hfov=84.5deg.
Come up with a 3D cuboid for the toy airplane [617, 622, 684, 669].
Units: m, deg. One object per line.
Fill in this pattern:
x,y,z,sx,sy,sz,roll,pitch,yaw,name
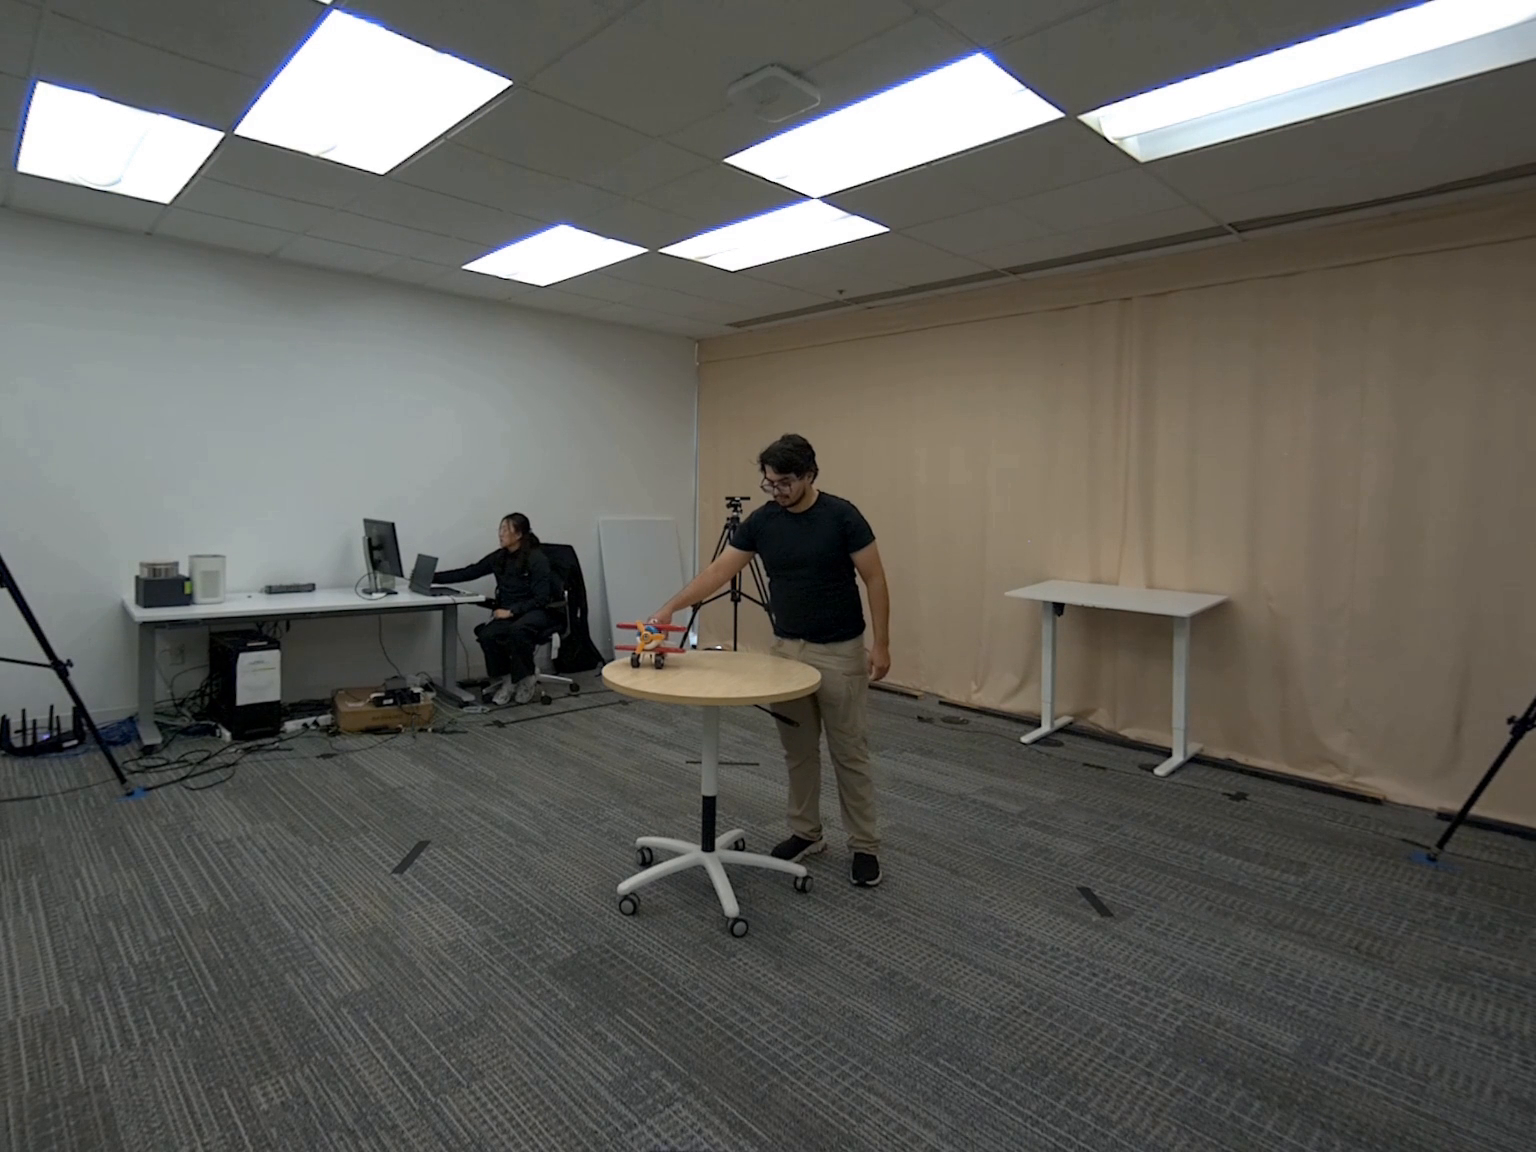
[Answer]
-0.445,0.244,3.052,0.247,0.156,0.264,0,5,-24,toy airplane
